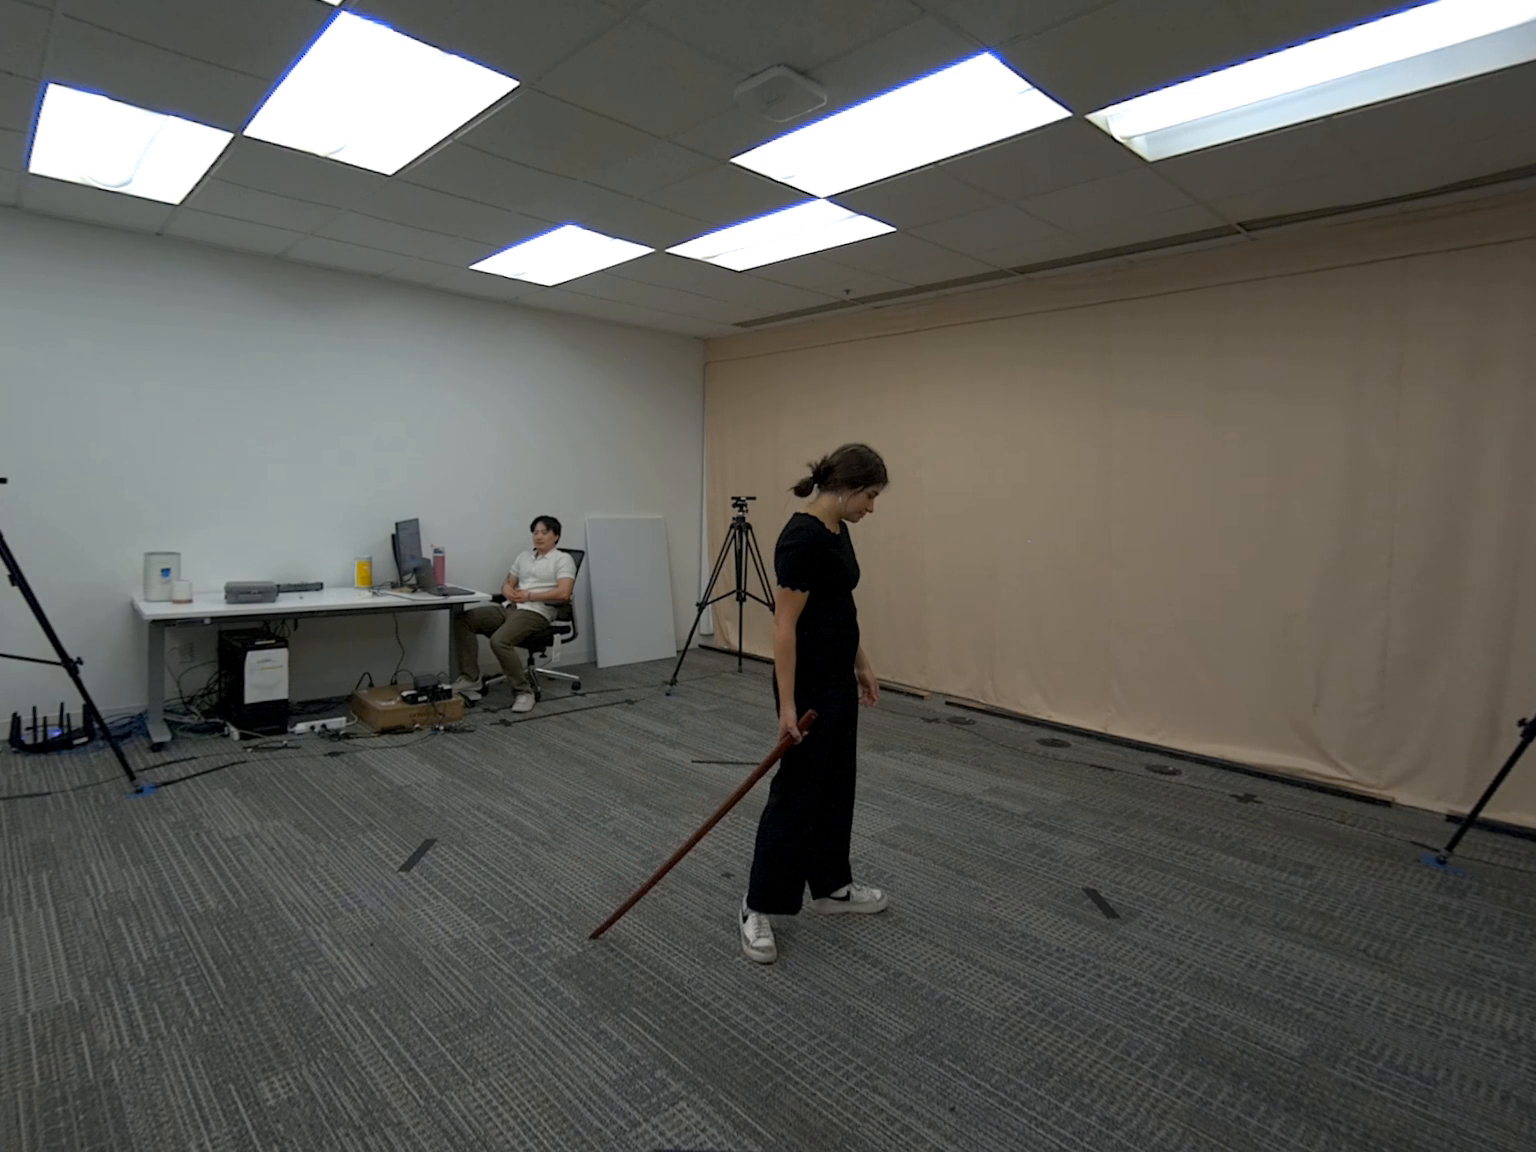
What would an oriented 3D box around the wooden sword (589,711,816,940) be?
[{"bbox_3d":[-0.204,0.778,2.553,0.024,1.025,0.052,41,11,-17],"label":"wooden sword"}]
